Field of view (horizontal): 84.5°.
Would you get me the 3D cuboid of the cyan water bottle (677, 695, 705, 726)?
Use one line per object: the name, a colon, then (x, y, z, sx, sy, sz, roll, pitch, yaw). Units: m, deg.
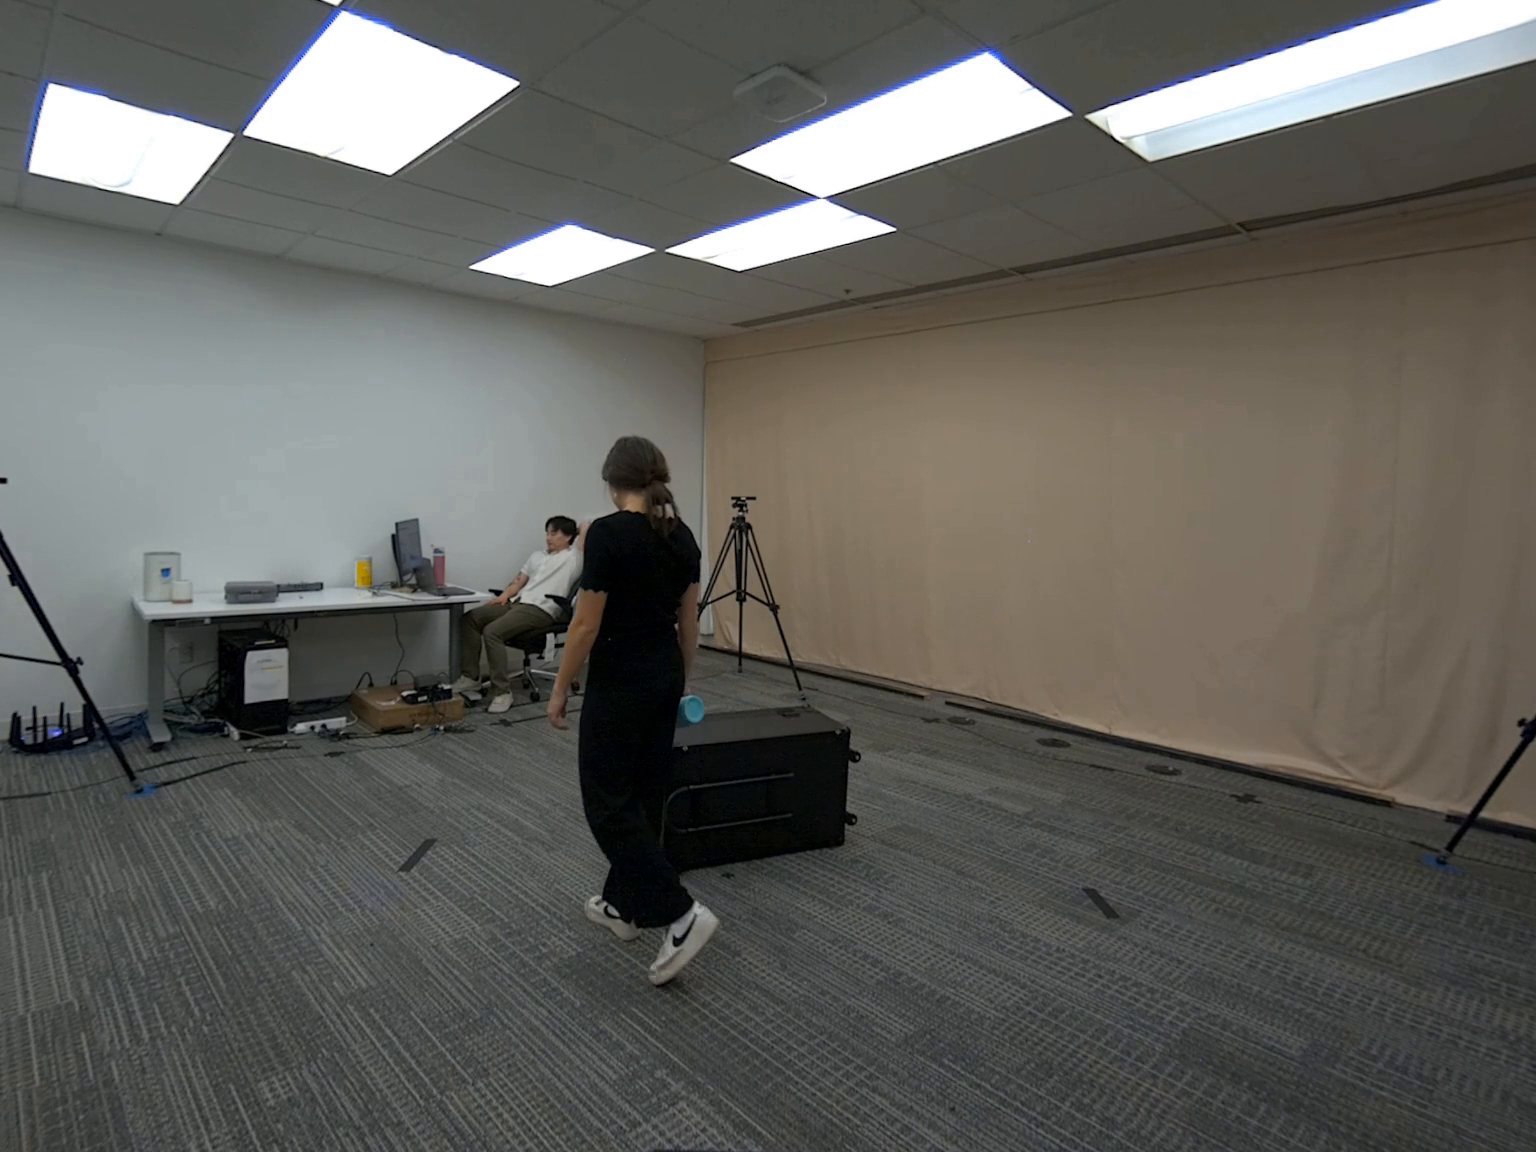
cyan water bottle: (-0.336, 0.465, 2.848, 0.090, 0.093, 0.288, -2, -9, -44)
